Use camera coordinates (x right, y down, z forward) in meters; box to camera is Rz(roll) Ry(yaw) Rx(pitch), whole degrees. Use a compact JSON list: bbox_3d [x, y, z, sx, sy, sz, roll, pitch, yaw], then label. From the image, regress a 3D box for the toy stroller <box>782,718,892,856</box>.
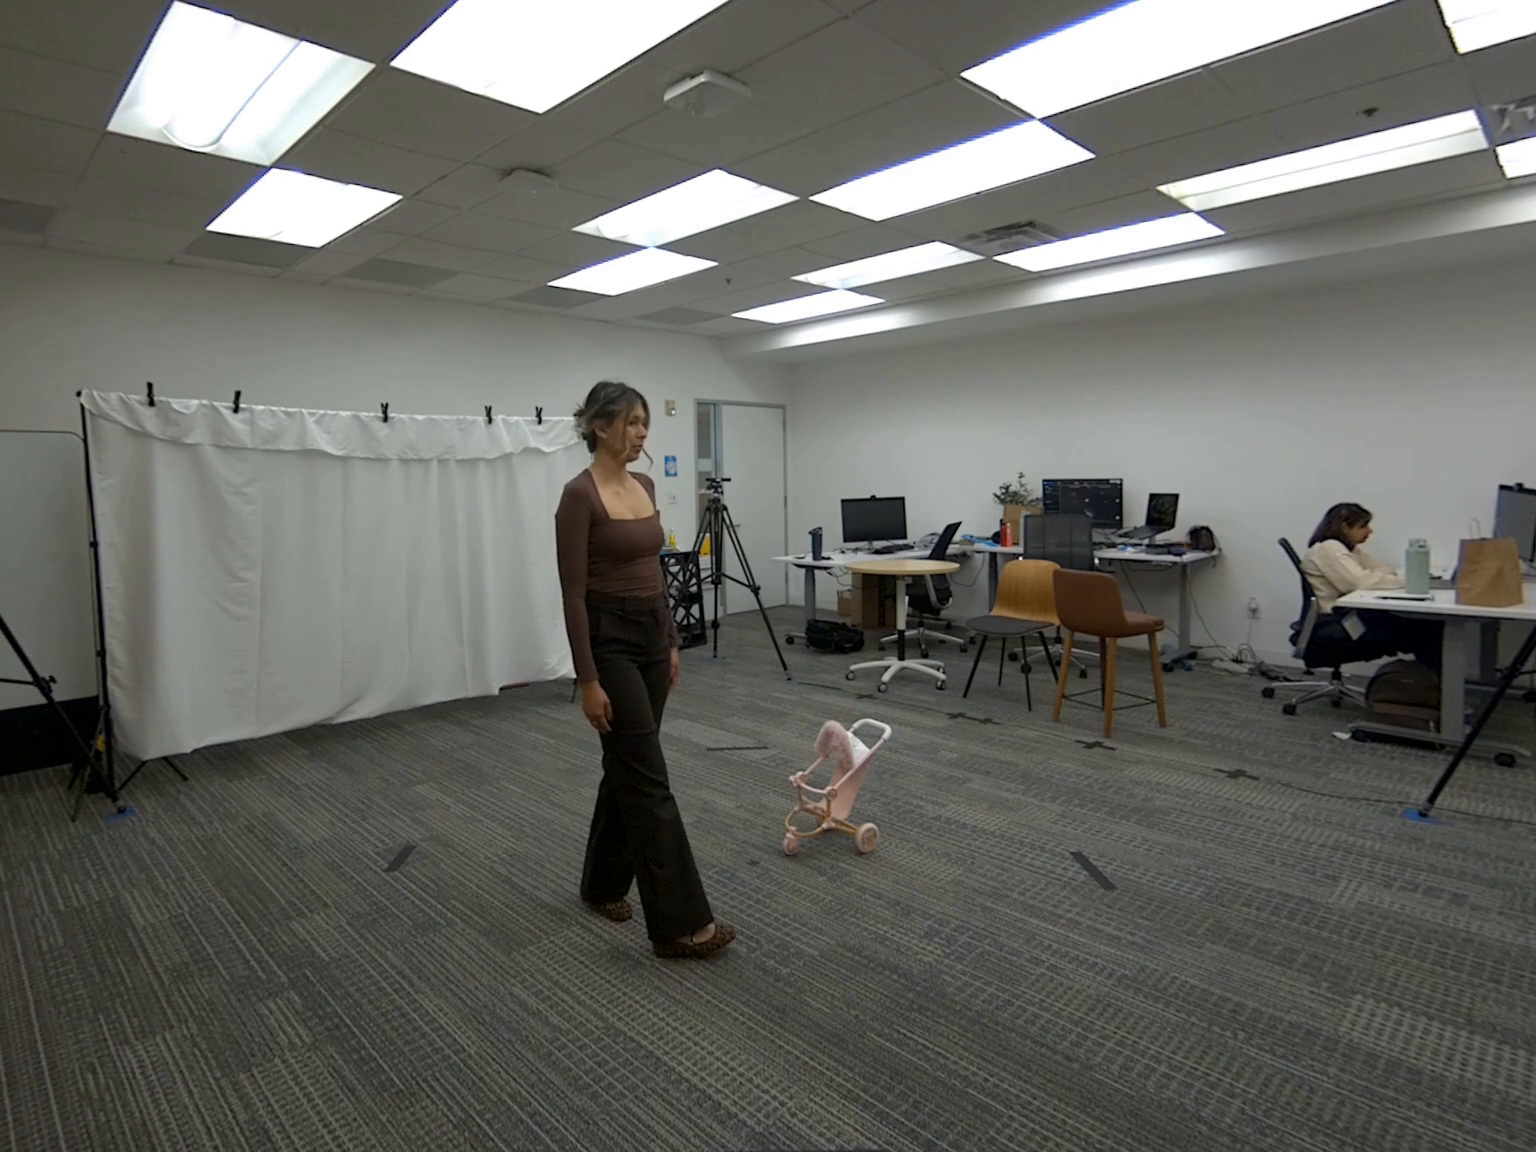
[{"bbox_3d":[0.246,0.793,3.244,0.332,0.536,0.288,14,-3,-26],"label":"toy stroller"}]
